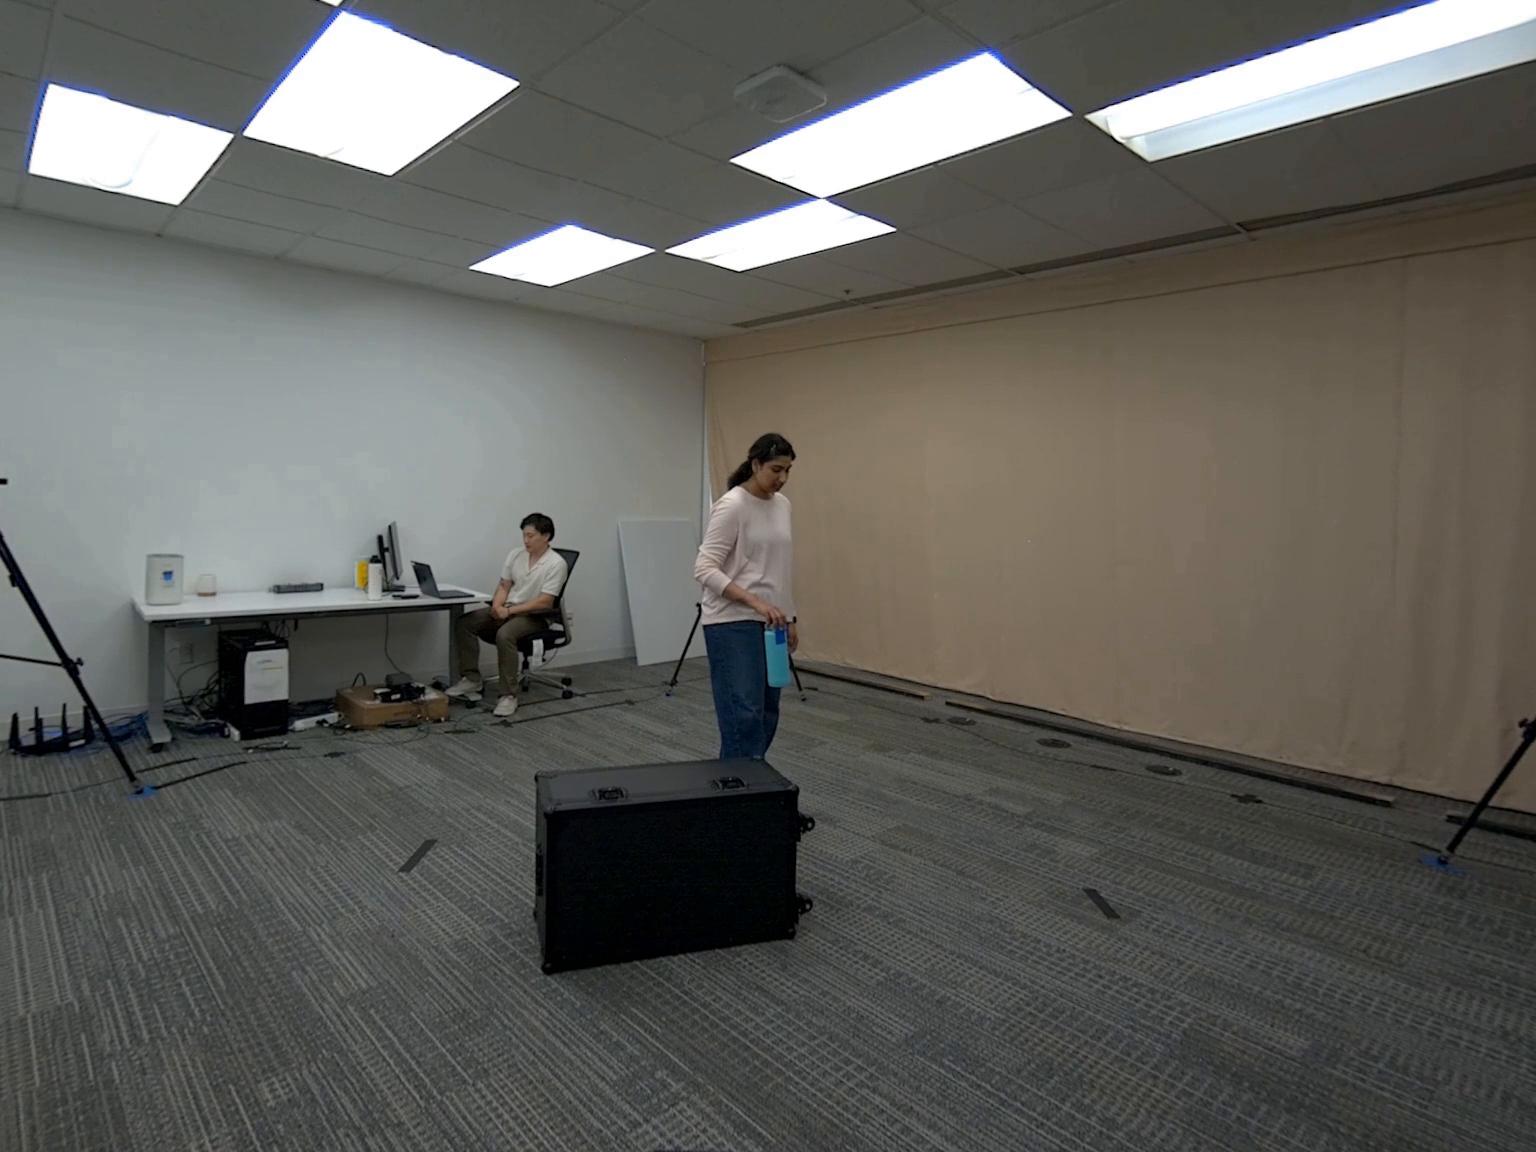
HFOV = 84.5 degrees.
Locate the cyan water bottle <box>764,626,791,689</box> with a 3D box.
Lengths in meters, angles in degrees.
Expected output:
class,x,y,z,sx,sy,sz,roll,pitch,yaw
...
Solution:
class,x,y,z,sx,sy,sz,roll,pitch,yaw
cyan water bottle,0.013,0.300,3.411,0.092,0.282,0.093,-1,6,-1
